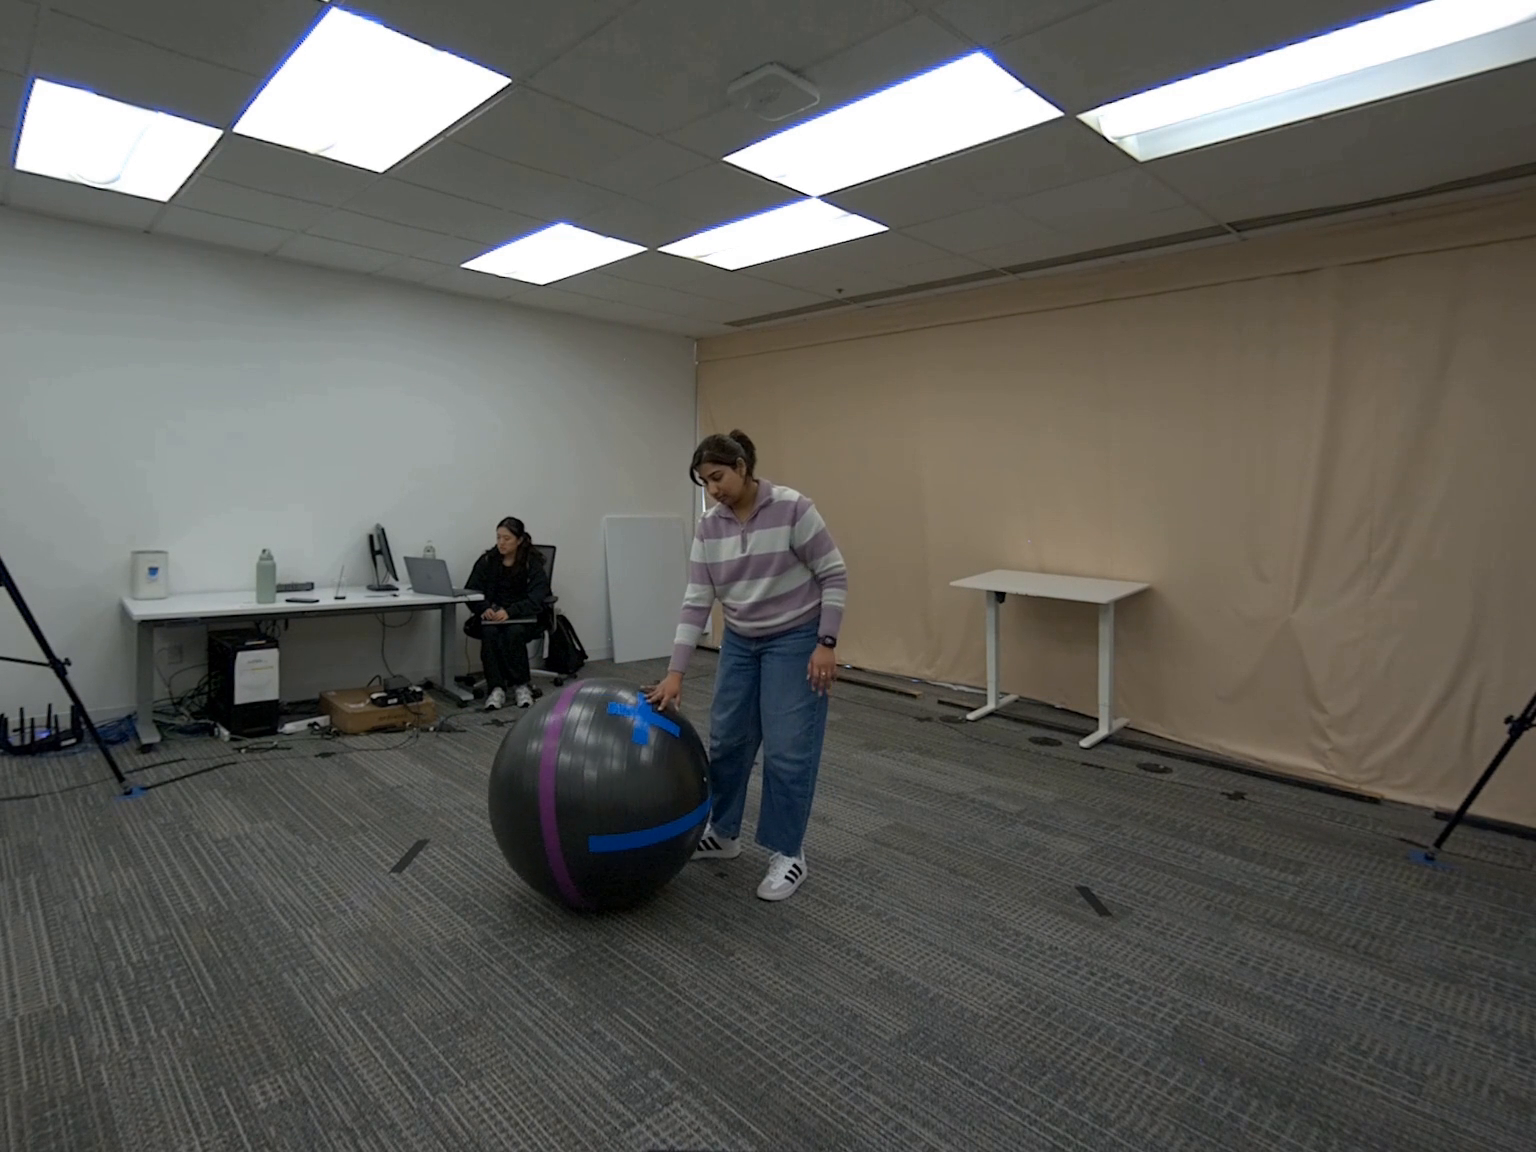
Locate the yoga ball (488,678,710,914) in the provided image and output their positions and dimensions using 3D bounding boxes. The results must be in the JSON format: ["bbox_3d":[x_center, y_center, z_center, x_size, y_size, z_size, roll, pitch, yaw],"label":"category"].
[{"bbox_3d":[-0.582,0.745,2.897,0.757,0.756,0.761,1,4,-1],"label":"yoga ball"}]
